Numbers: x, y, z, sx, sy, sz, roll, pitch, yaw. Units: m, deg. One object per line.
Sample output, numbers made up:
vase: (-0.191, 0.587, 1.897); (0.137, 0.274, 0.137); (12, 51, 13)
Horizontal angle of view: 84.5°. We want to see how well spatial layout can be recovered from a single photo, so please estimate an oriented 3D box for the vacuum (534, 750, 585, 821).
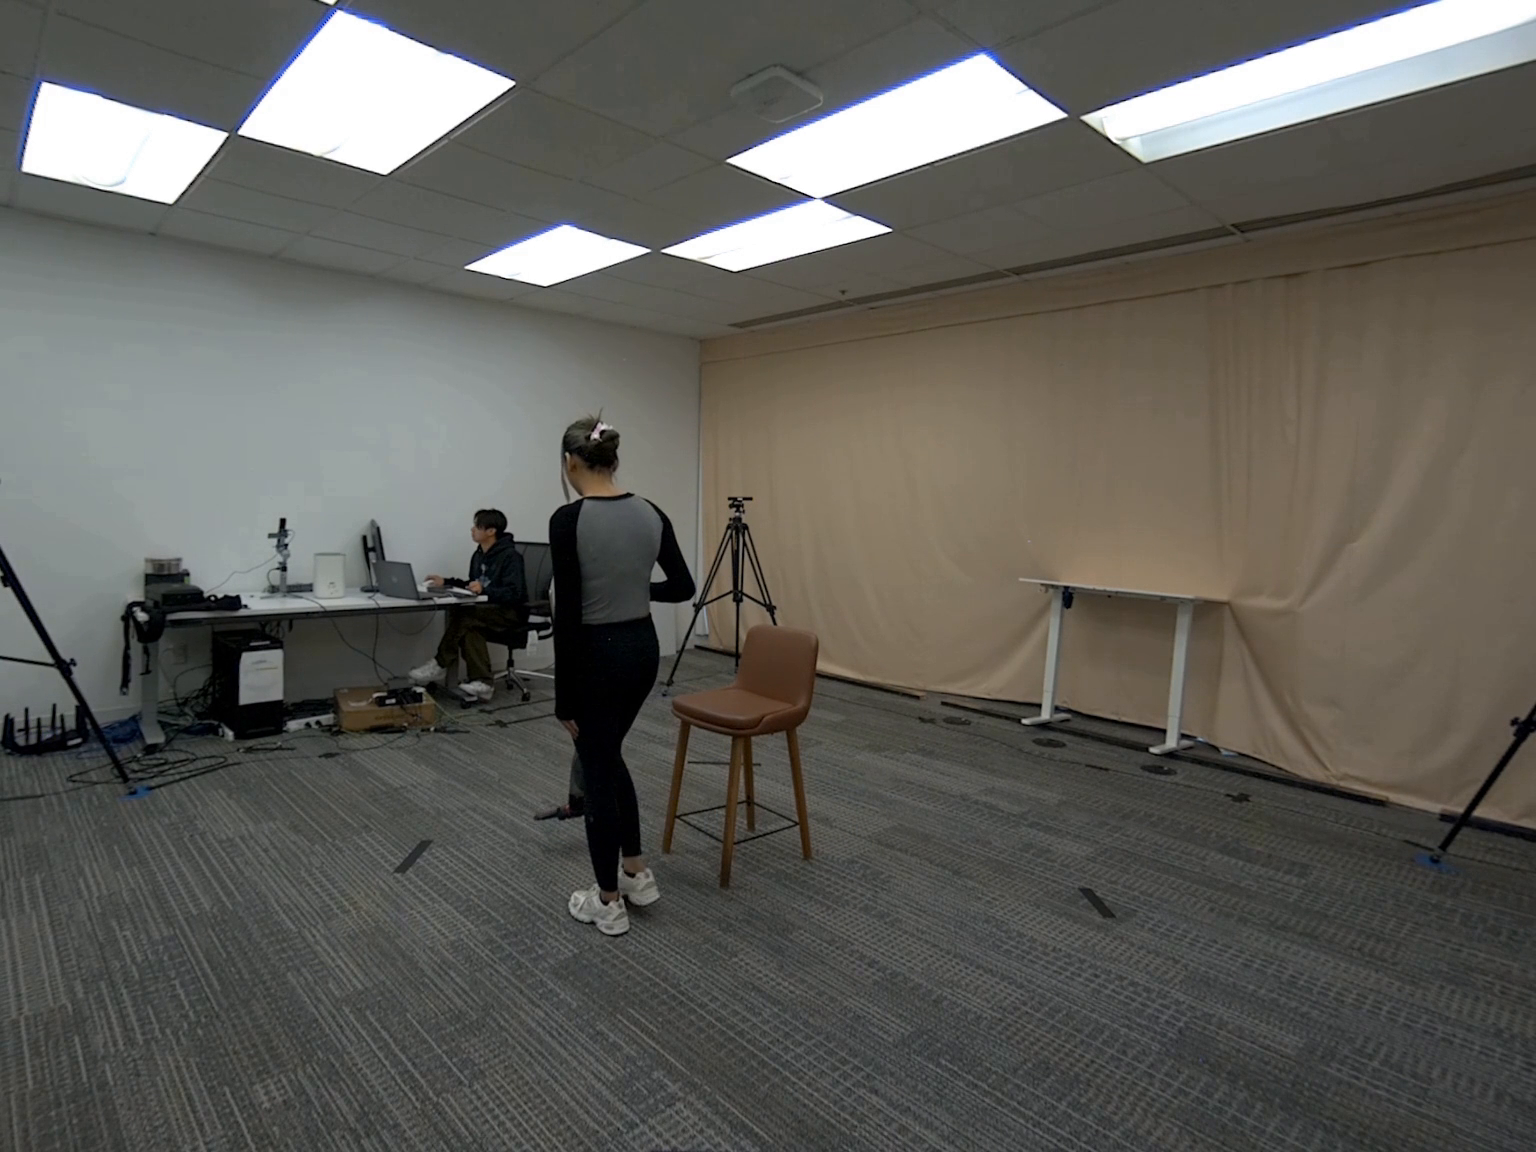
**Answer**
vacuum: (-0.622, 0.497, 3.080); (0.247, 1.040, 0.149); (0, 33, -40)
